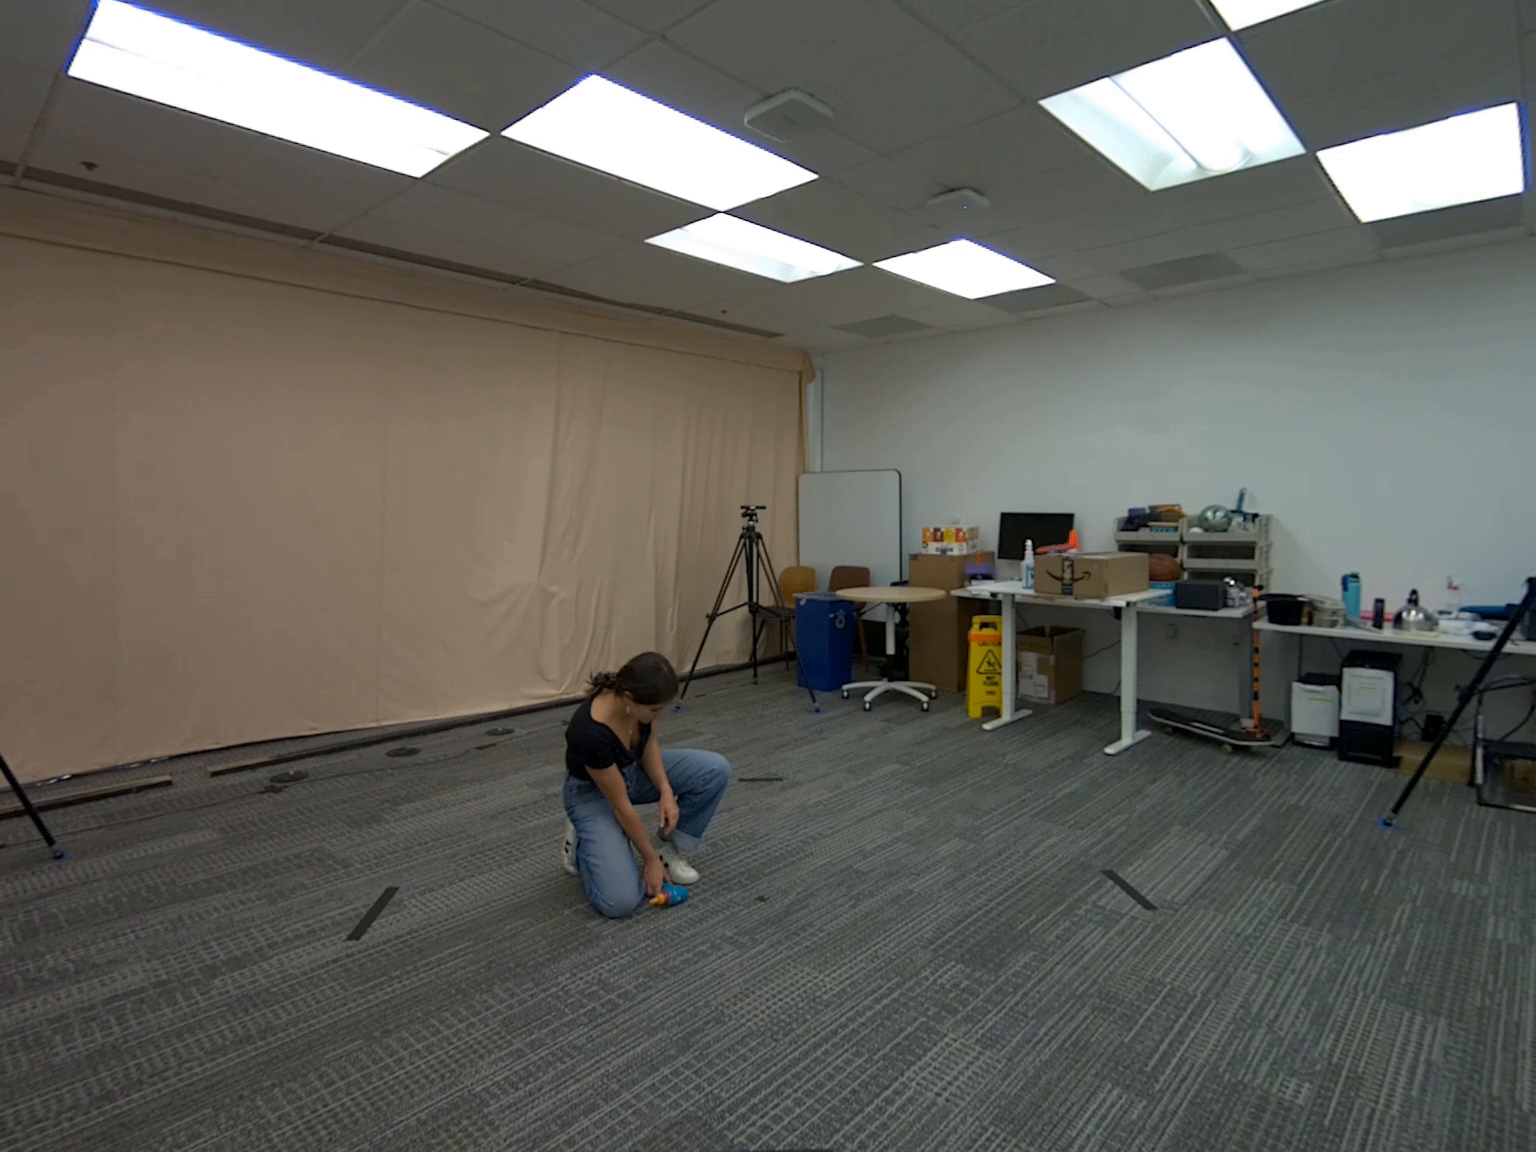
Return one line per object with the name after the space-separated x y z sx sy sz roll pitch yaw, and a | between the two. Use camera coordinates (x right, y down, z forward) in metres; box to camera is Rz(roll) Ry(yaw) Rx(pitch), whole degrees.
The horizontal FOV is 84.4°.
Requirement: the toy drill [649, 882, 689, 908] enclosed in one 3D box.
-0.374 1.117 2.965 0.164 0.061 0.151 1 3 -43 | toy drill
